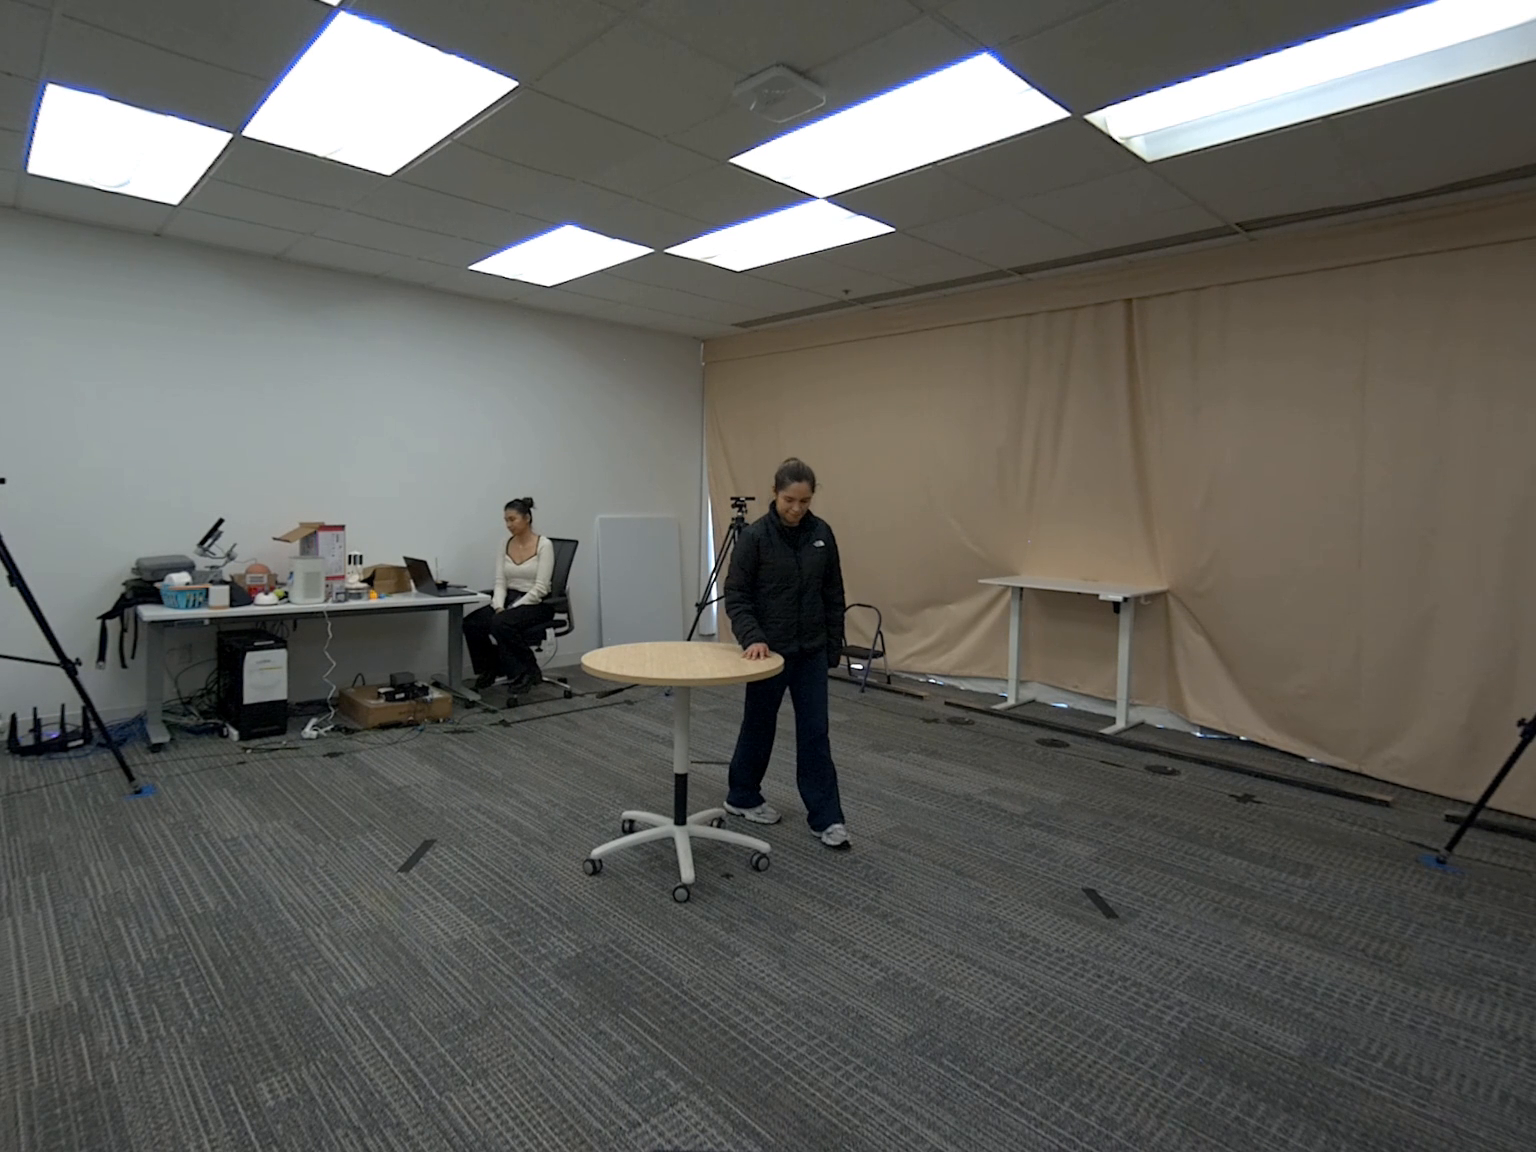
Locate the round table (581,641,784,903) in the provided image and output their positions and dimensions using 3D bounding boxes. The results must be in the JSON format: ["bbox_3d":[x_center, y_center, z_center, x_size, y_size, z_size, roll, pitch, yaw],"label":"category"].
[{"bbox_3d":[-0.328,0.701,3.209,0.784,0.785,0.787,1,4,-1],"label":"round table"}]
